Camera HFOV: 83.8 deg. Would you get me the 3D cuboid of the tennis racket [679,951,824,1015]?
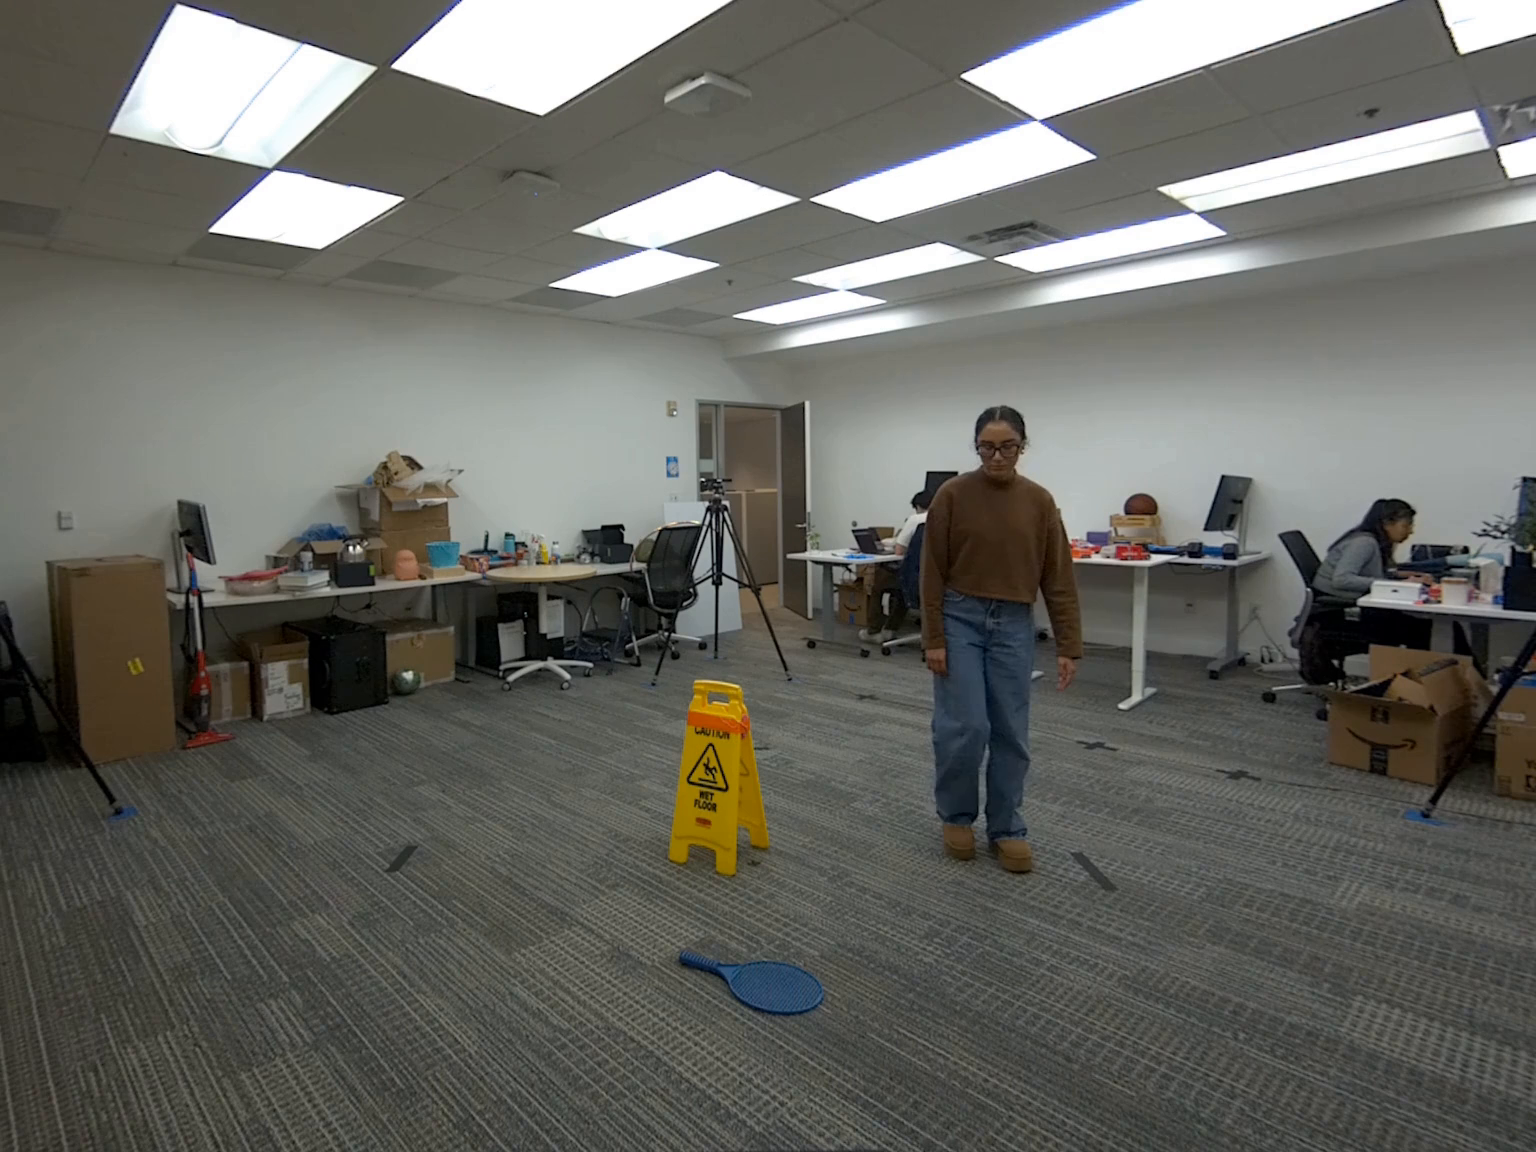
[{"bbox_3d":[-0.046,1.117,2.384,0.444,0.031,0.209,3,7,30],"label":"tennis racket"}]
